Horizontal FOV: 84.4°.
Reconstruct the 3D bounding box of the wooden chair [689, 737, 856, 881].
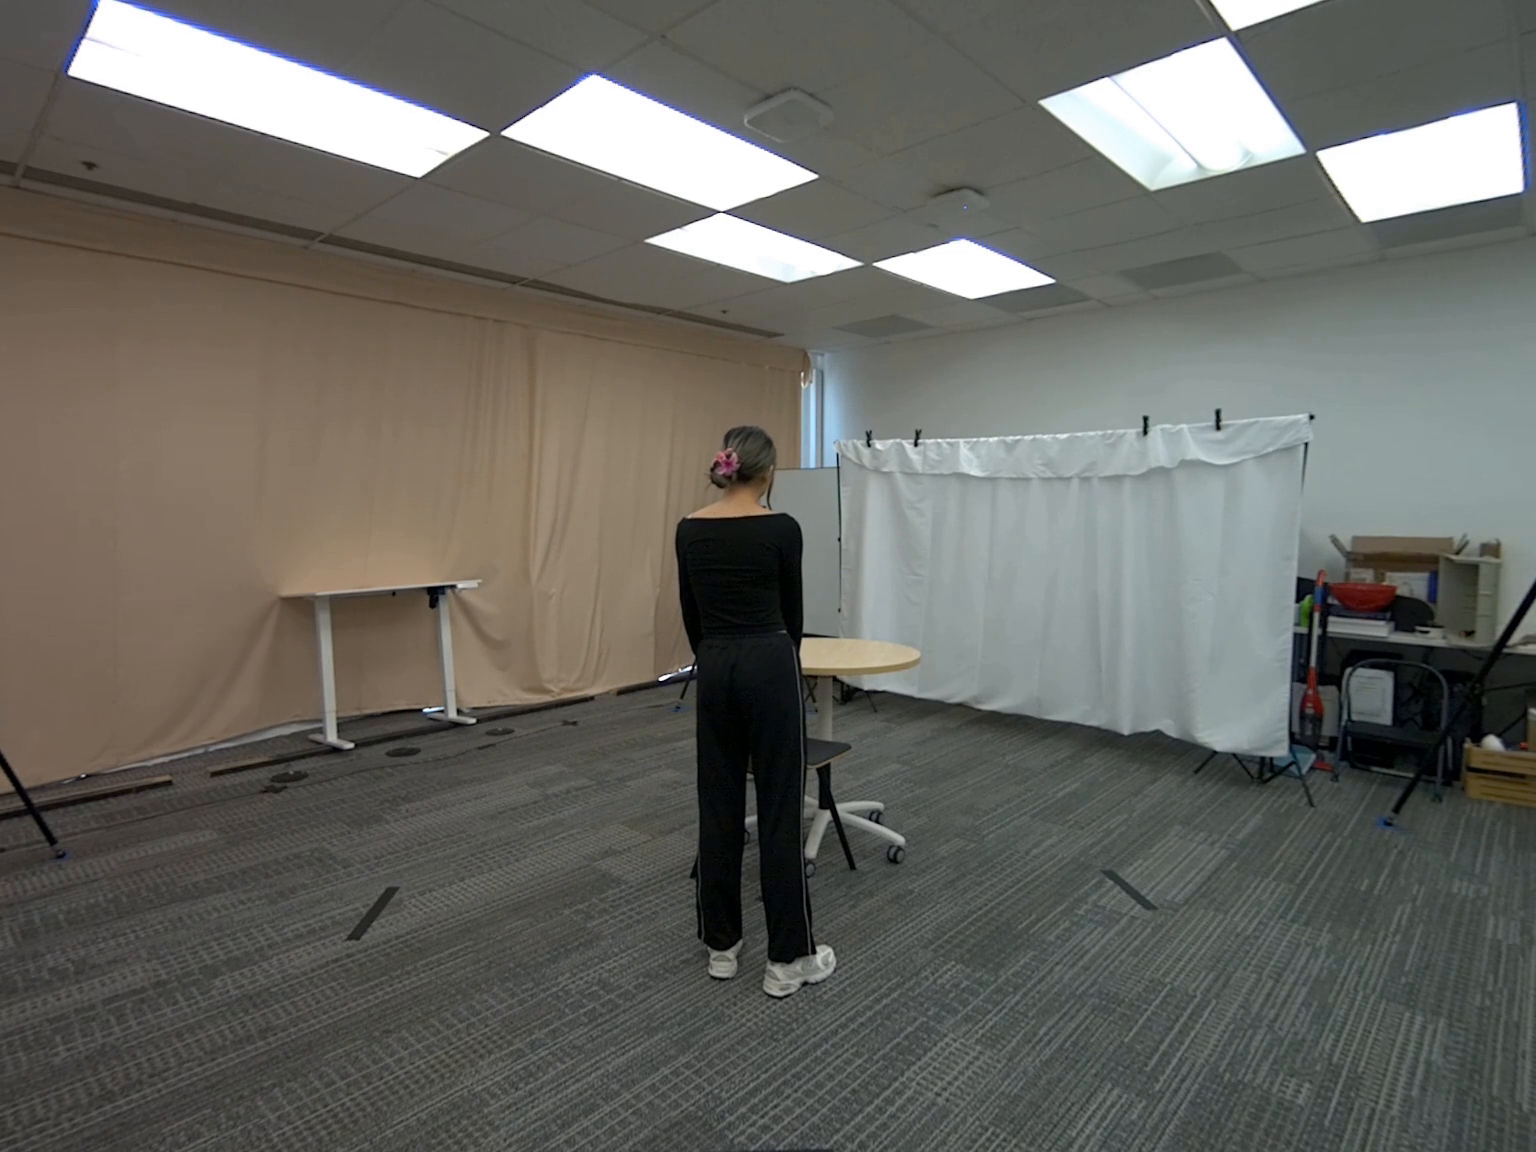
[{"bbox_3d":[0.023,0.699,3.157,0.493,0.873,0.509,1,8,38],"label":"wooden chair"}]
